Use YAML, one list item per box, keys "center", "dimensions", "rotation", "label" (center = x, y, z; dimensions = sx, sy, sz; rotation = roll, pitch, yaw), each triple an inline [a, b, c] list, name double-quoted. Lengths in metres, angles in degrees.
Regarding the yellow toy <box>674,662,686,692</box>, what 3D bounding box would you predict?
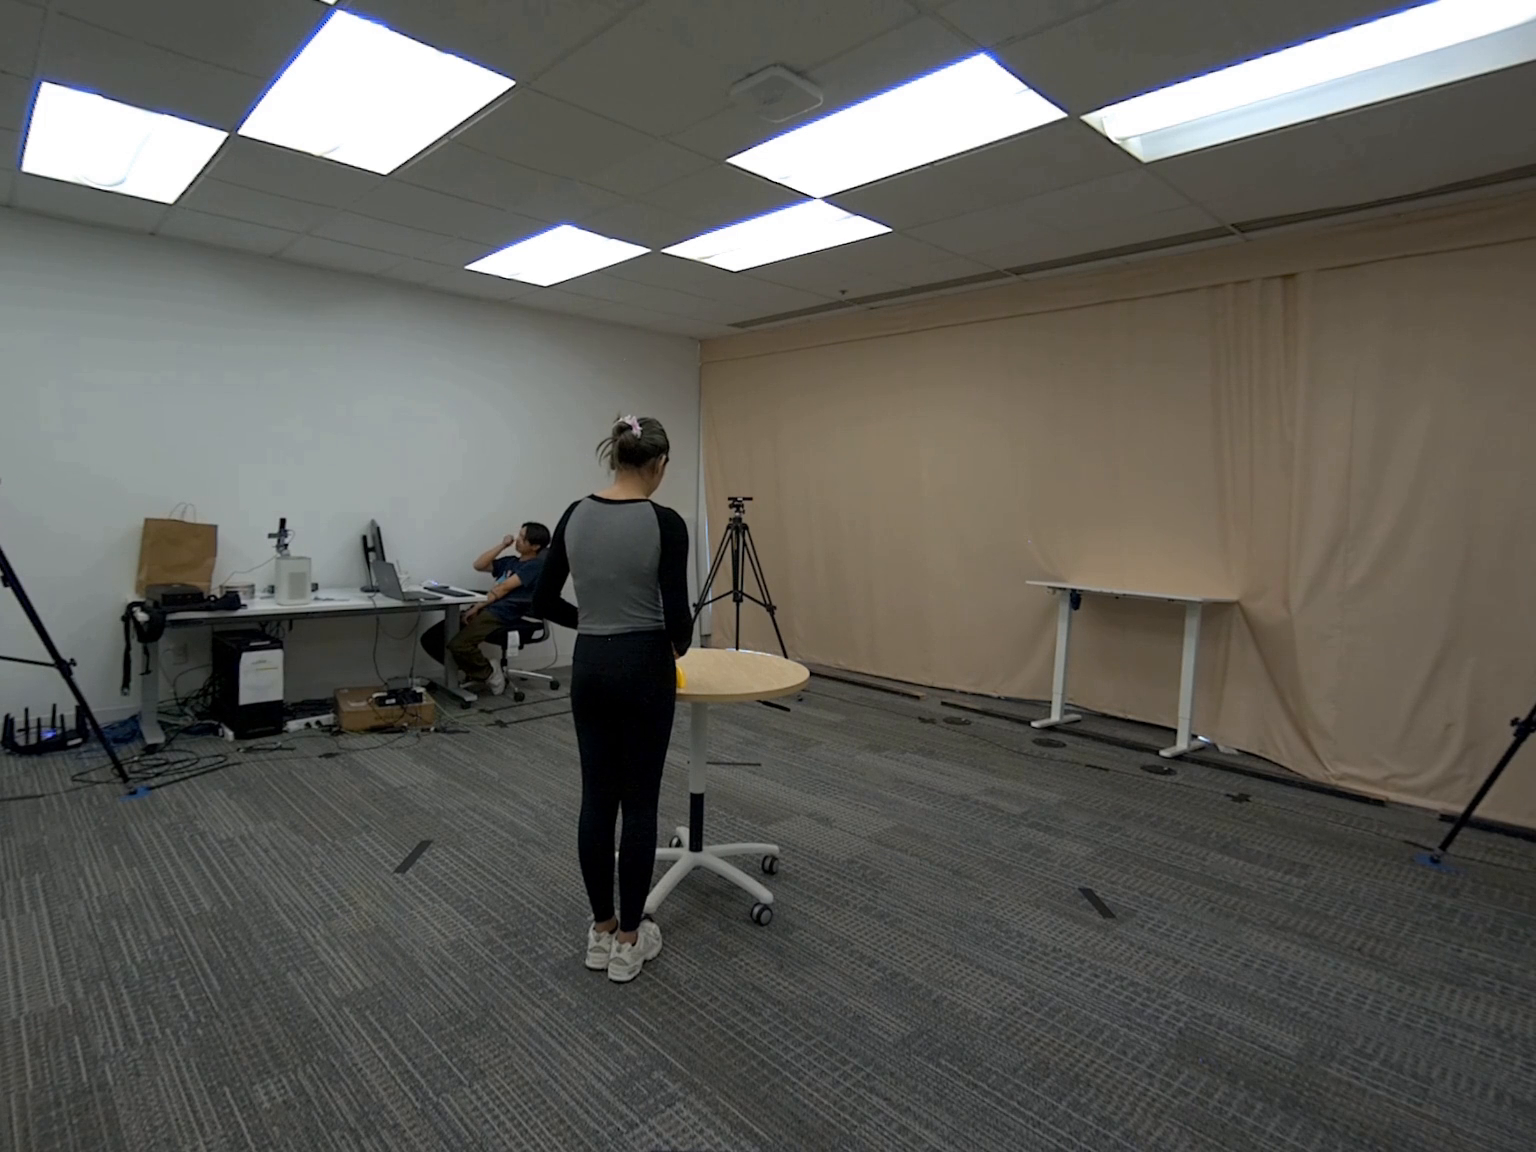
- center: [-0.366, 0.239, 2.680]
  dimensions: [0.200, 0.230, 0.197]
  rotation: [1, 4, -29]
  label: "yellow toy"
